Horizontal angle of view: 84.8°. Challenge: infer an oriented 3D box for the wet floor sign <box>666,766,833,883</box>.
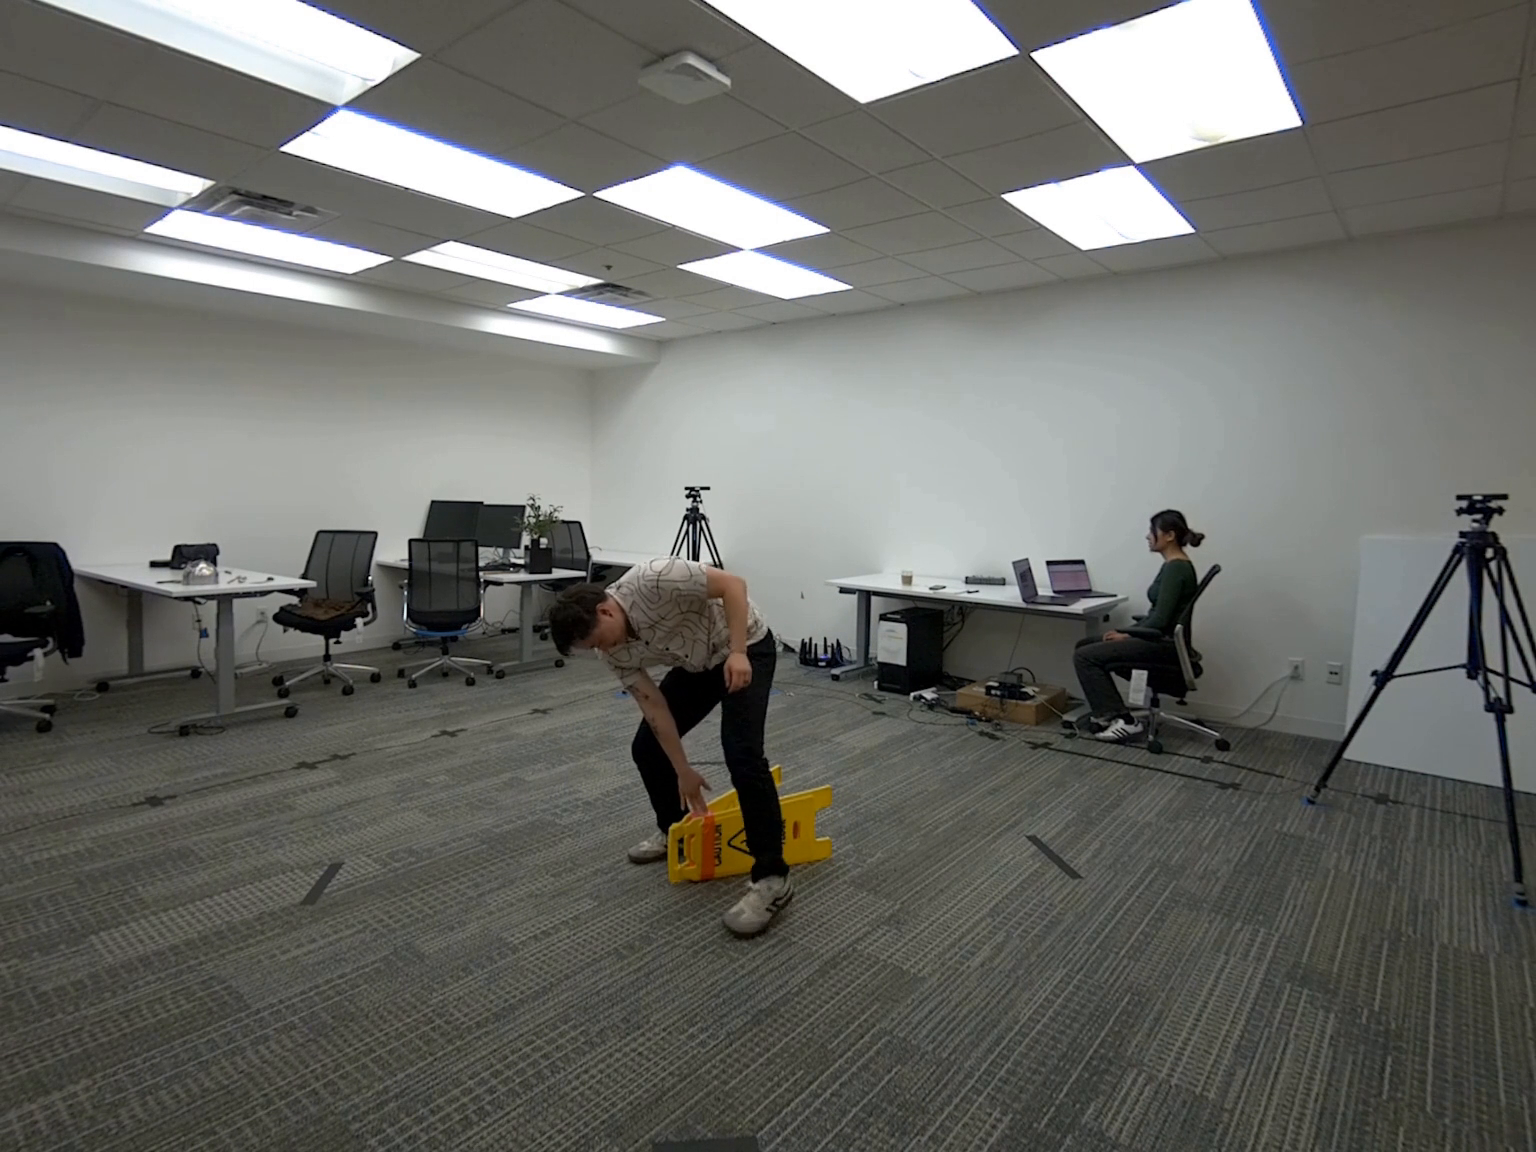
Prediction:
[{"bbox_3d":[-0.106,0.935,3.130,0.628,0.281,0.299,-6,7,-39],"label":"wet floor sign"}]
